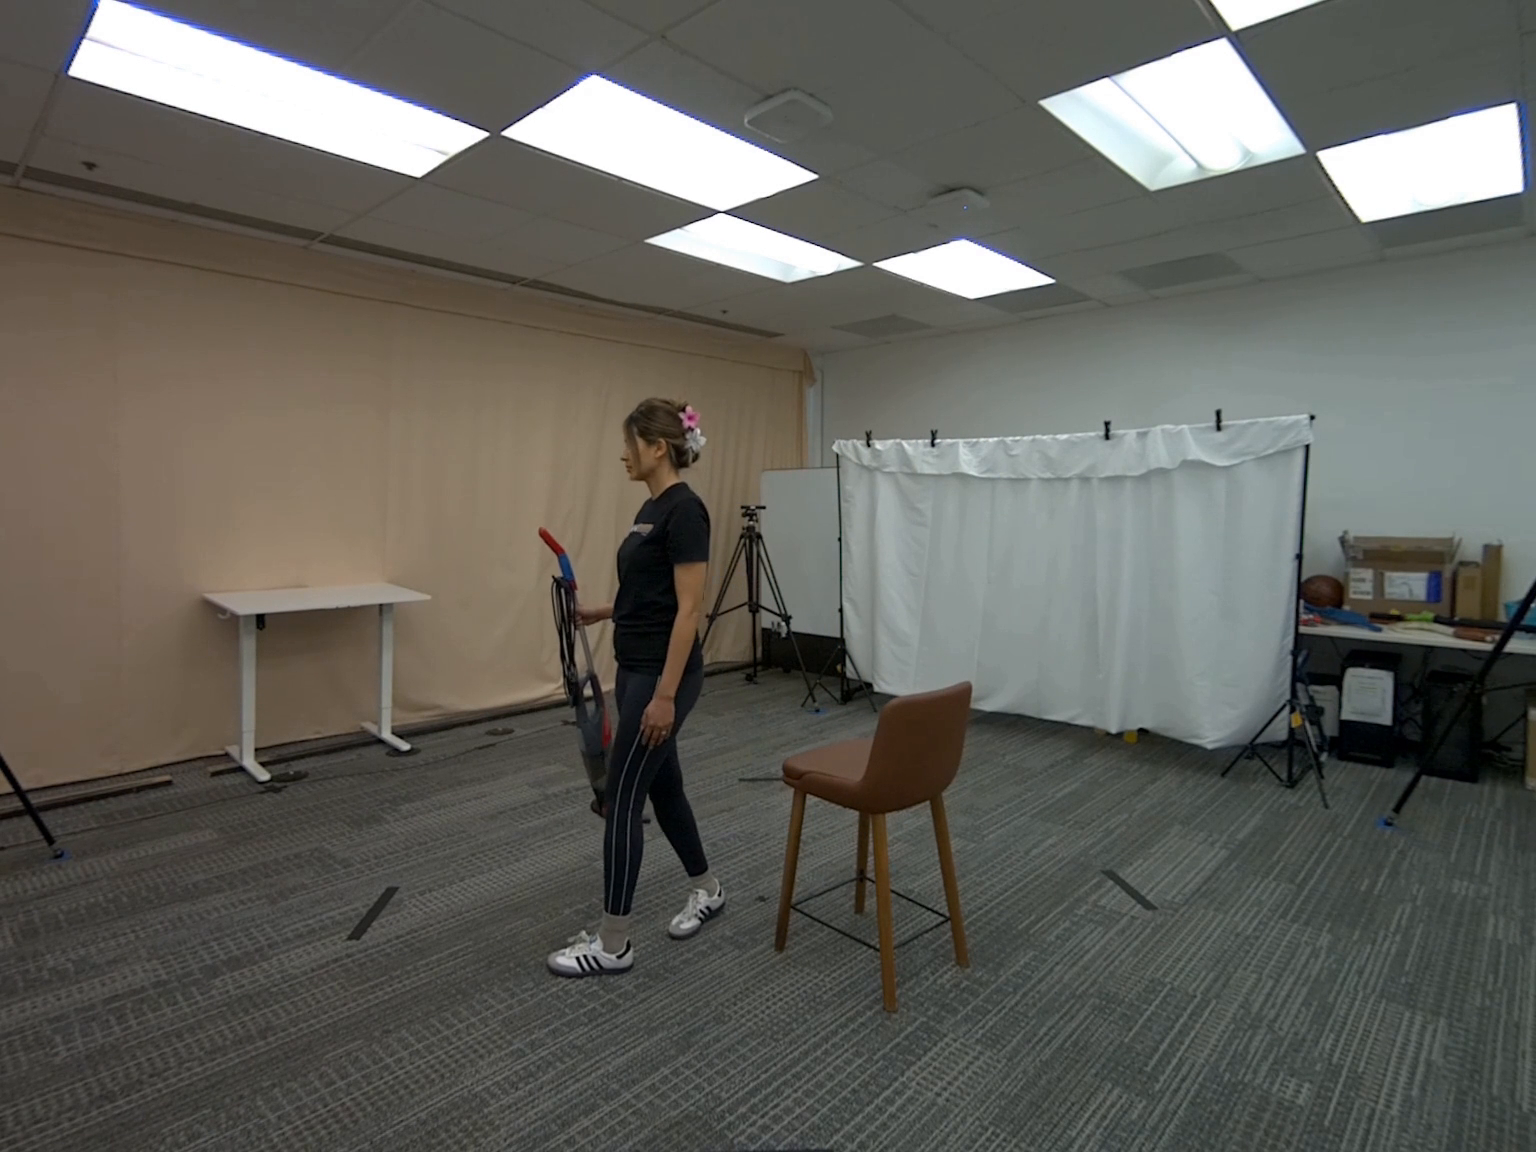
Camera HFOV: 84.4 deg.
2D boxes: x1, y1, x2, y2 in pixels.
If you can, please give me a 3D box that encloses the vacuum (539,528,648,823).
[{"bbox_3d":[-0.650,0.349,2.890,0.141,1.039,0.261,-22,15,-40],"label":"vacuum"}]
